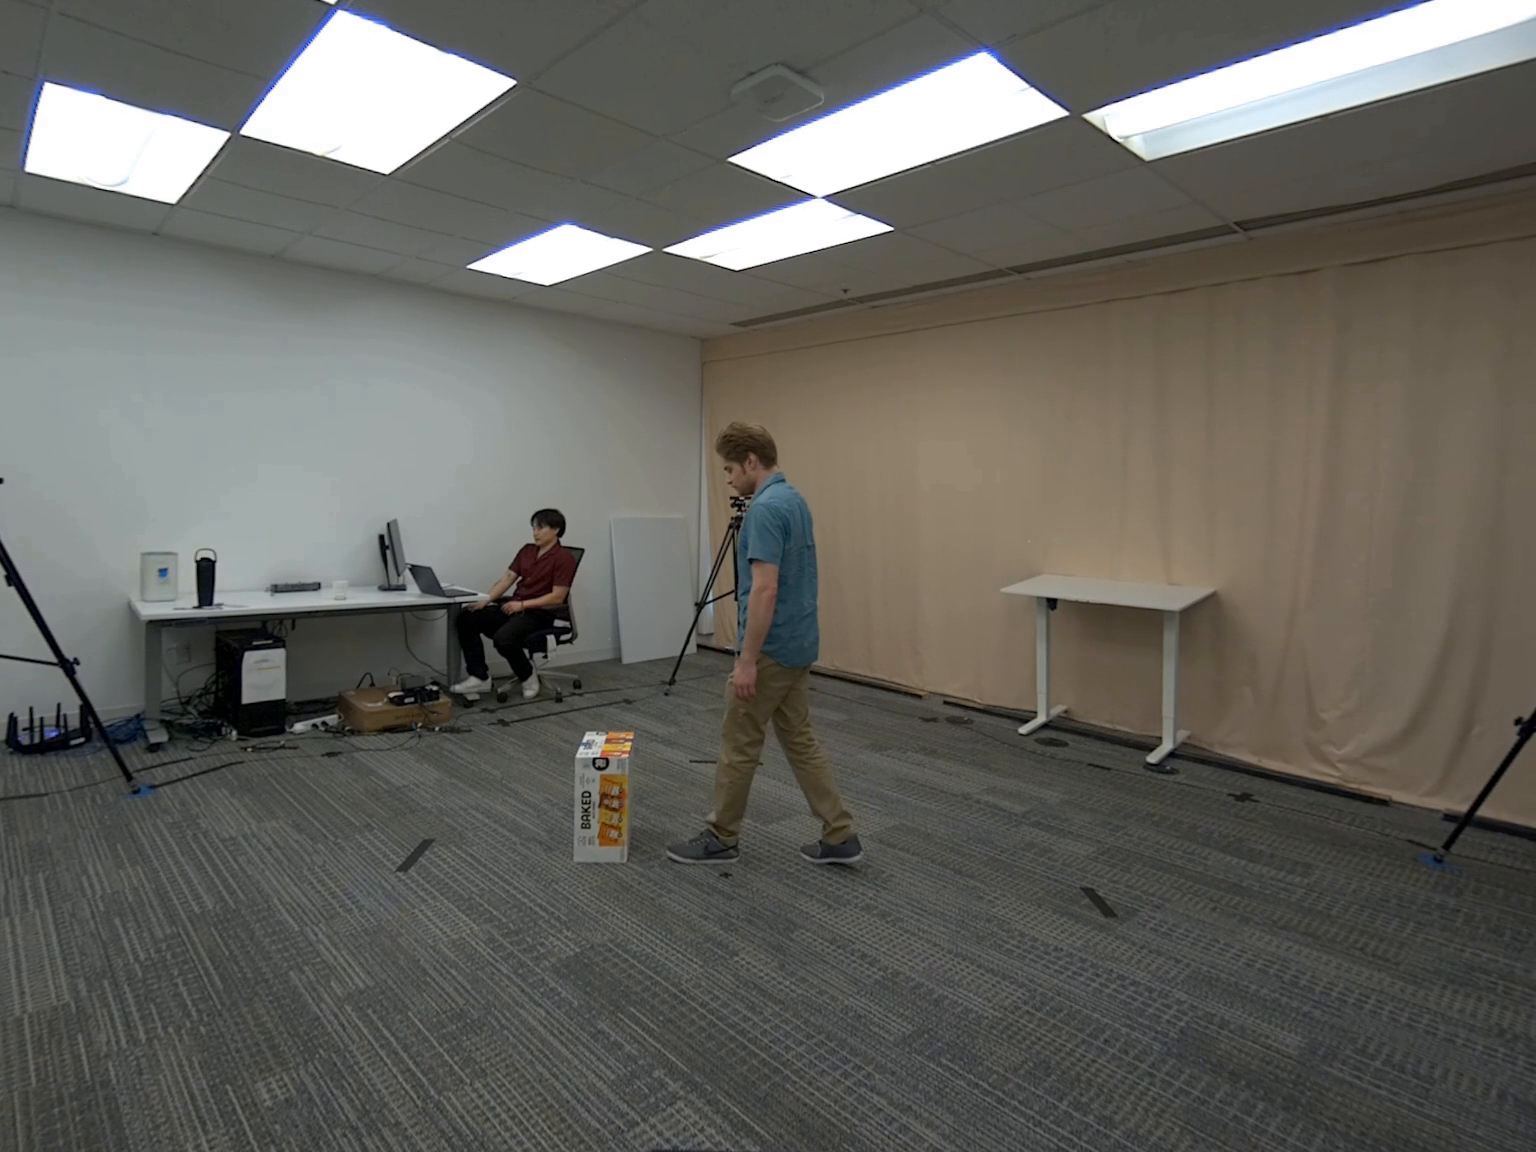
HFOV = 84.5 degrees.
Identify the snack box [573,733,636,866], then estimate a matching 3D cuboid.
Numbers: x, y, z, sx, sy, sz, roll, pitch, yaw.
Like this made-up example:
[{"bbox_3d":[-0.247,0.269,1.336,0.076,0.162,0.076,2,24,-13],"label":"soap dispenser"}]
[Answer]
[{"bbox_3d":[-0.643,0.868,3.343,0.205,0.404,0.342,0,3,-4],"label":"snack box"}]
